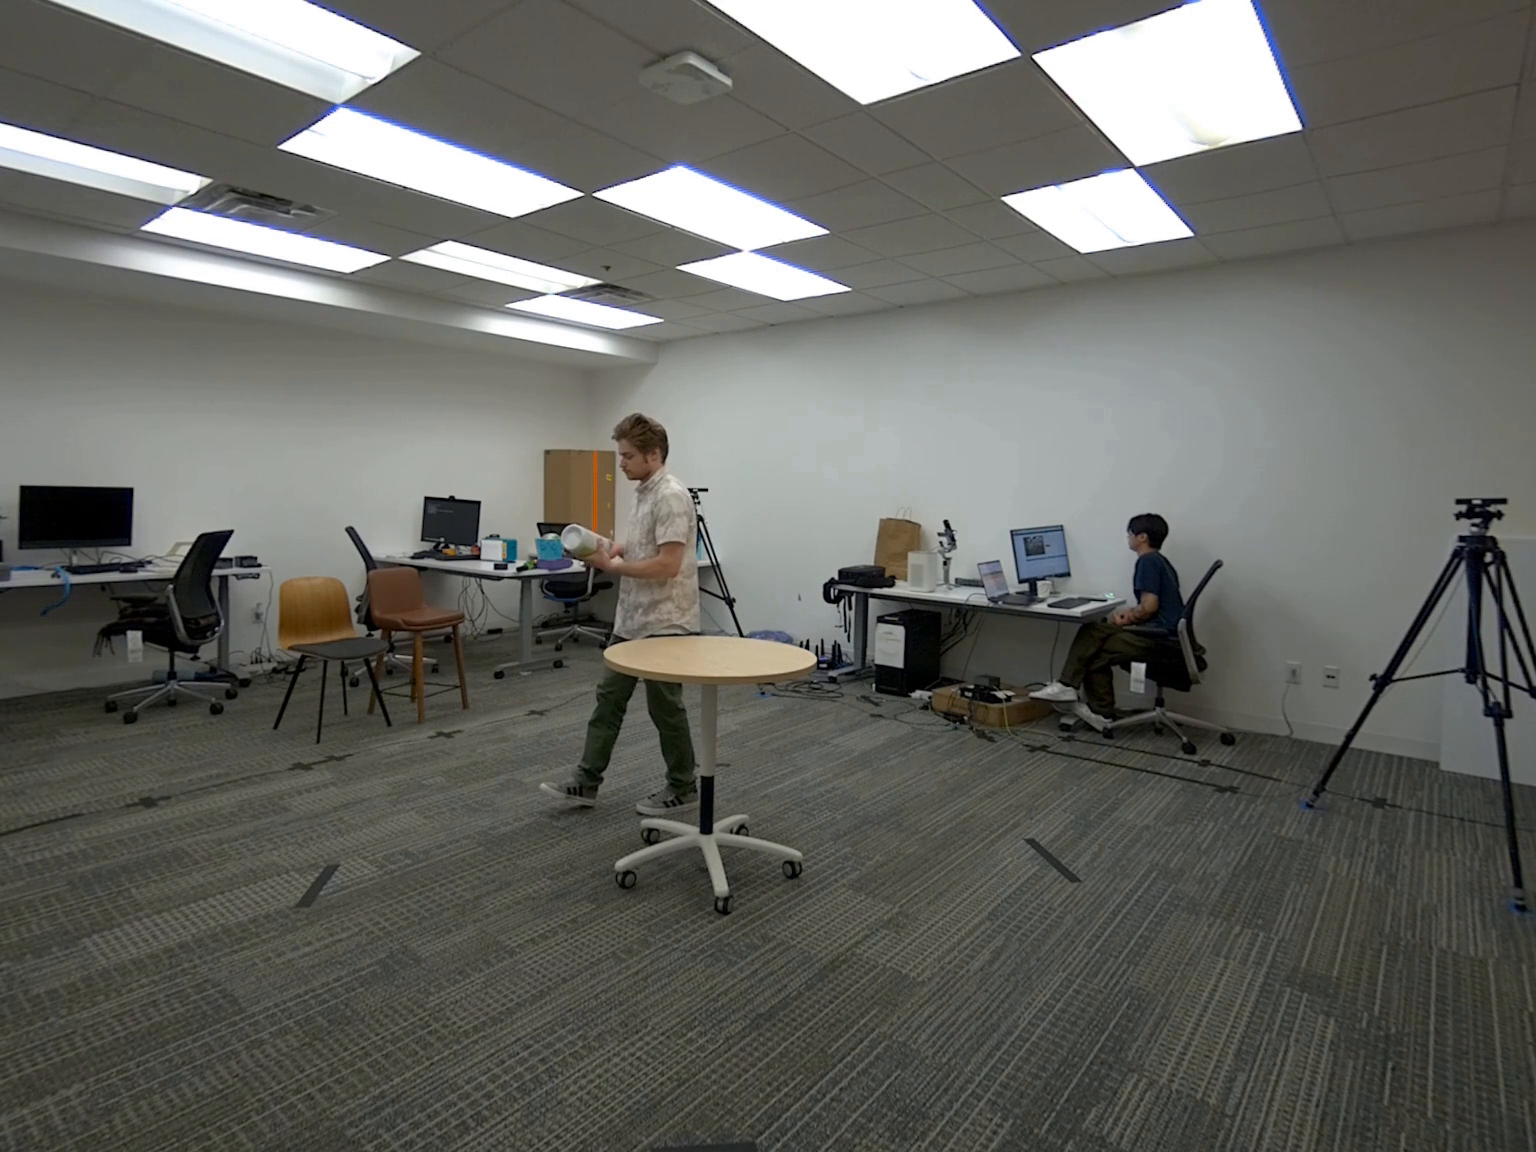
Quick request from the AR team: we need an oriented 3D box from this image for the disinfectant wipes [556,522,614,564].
[{"bbox_3d":[-0.759,-0.136,3.489,0.120,0.119,0.210,3,-12,21],"label":"disinfectant wipes"}]
